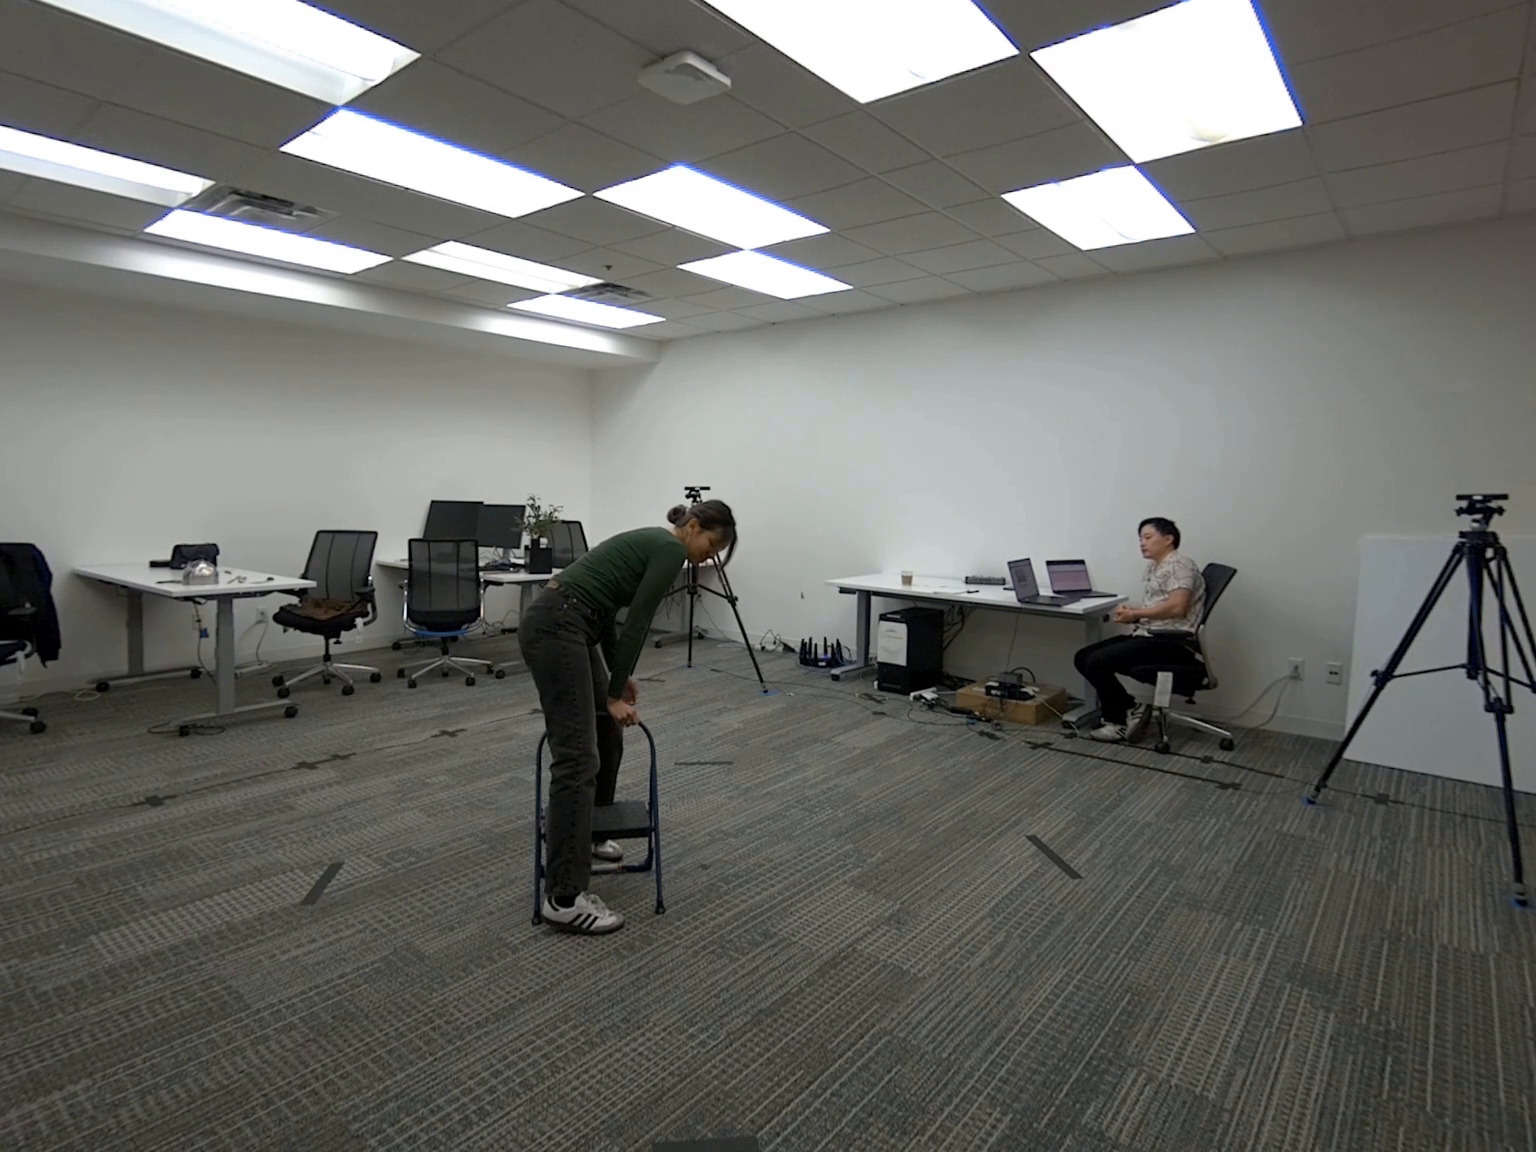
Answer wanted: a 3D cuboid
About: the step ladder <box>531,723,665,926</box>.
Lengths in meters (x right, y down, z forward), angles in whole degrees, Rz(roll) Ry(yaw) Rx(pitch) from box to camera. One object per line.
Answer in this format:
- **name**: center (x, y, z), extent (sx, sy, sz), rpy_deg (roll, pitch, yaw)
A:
- **step ladder**: center (-0.589, 0.785, 2.888), extent (0.426, 0.604, 0.354), rpy_deg (-2, 3, -11)
